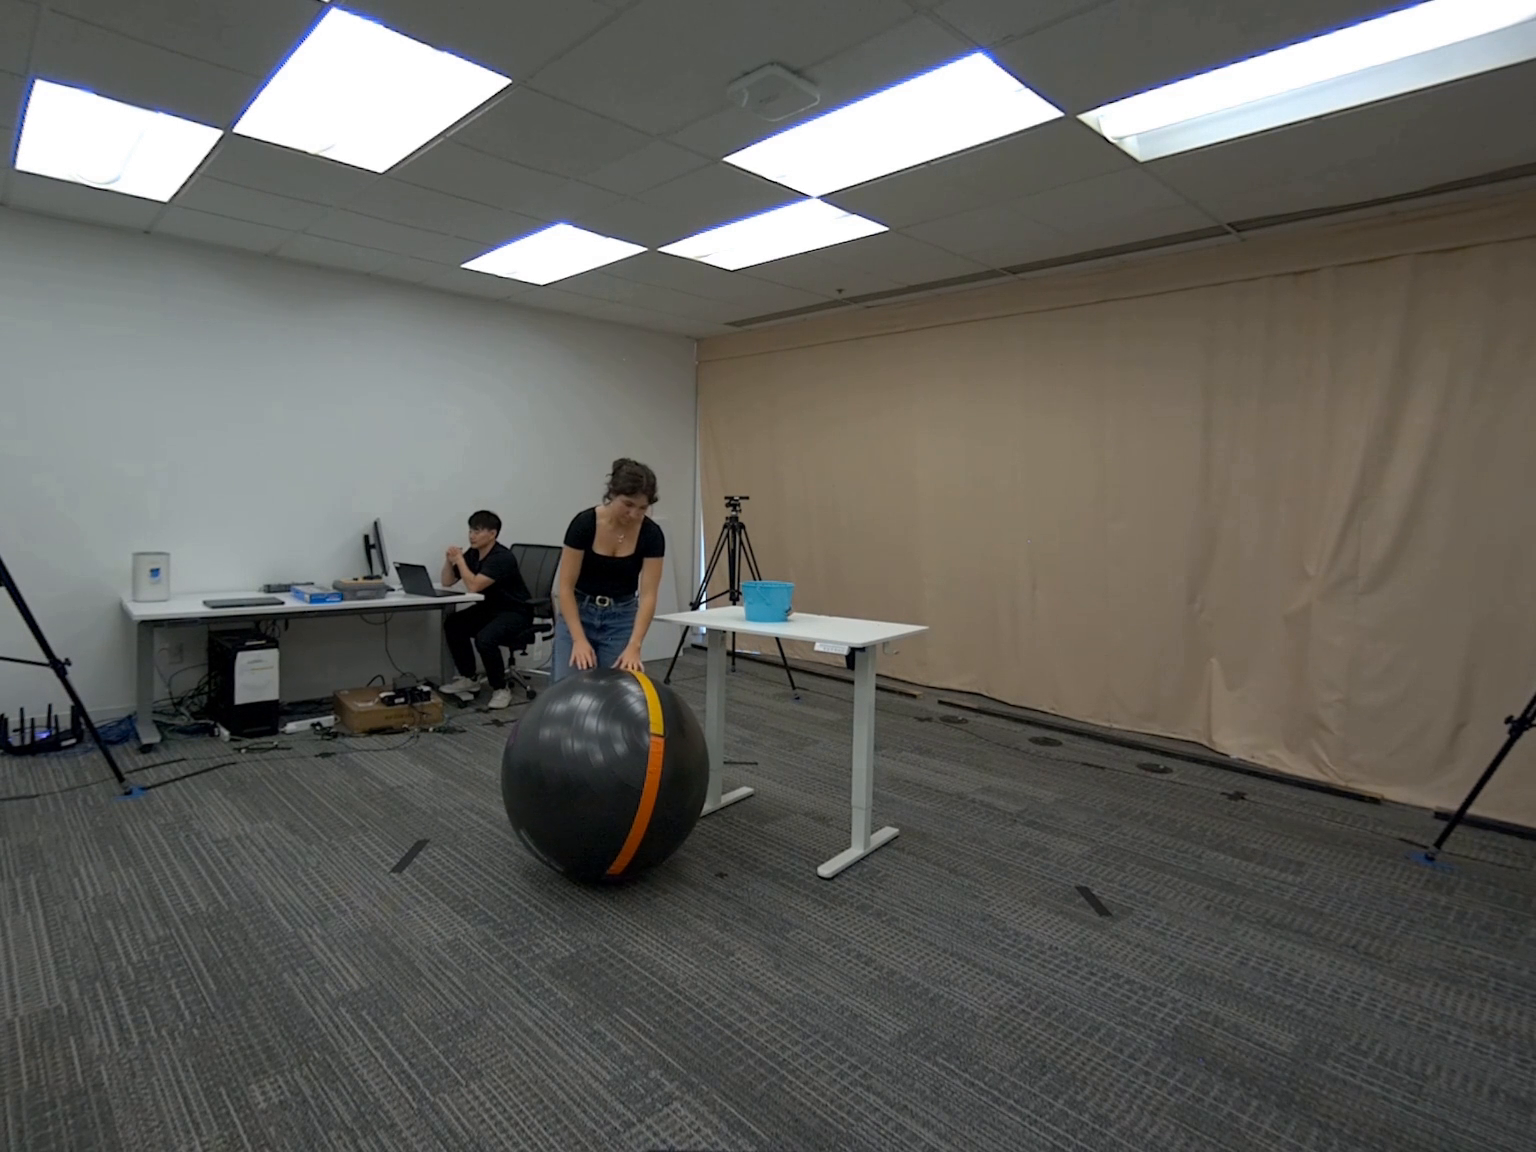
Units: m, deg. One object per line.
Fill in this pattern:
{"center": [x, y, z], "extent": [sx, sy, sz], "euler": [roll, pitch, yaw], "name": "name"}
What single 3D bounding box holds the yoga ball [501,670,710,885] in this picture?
{"center": [-0.609, 0.733, 3.096], "extent": [0.757, 0.756, 0.761], "euler": [1, 4, -1], "name": "yoga ball"}
